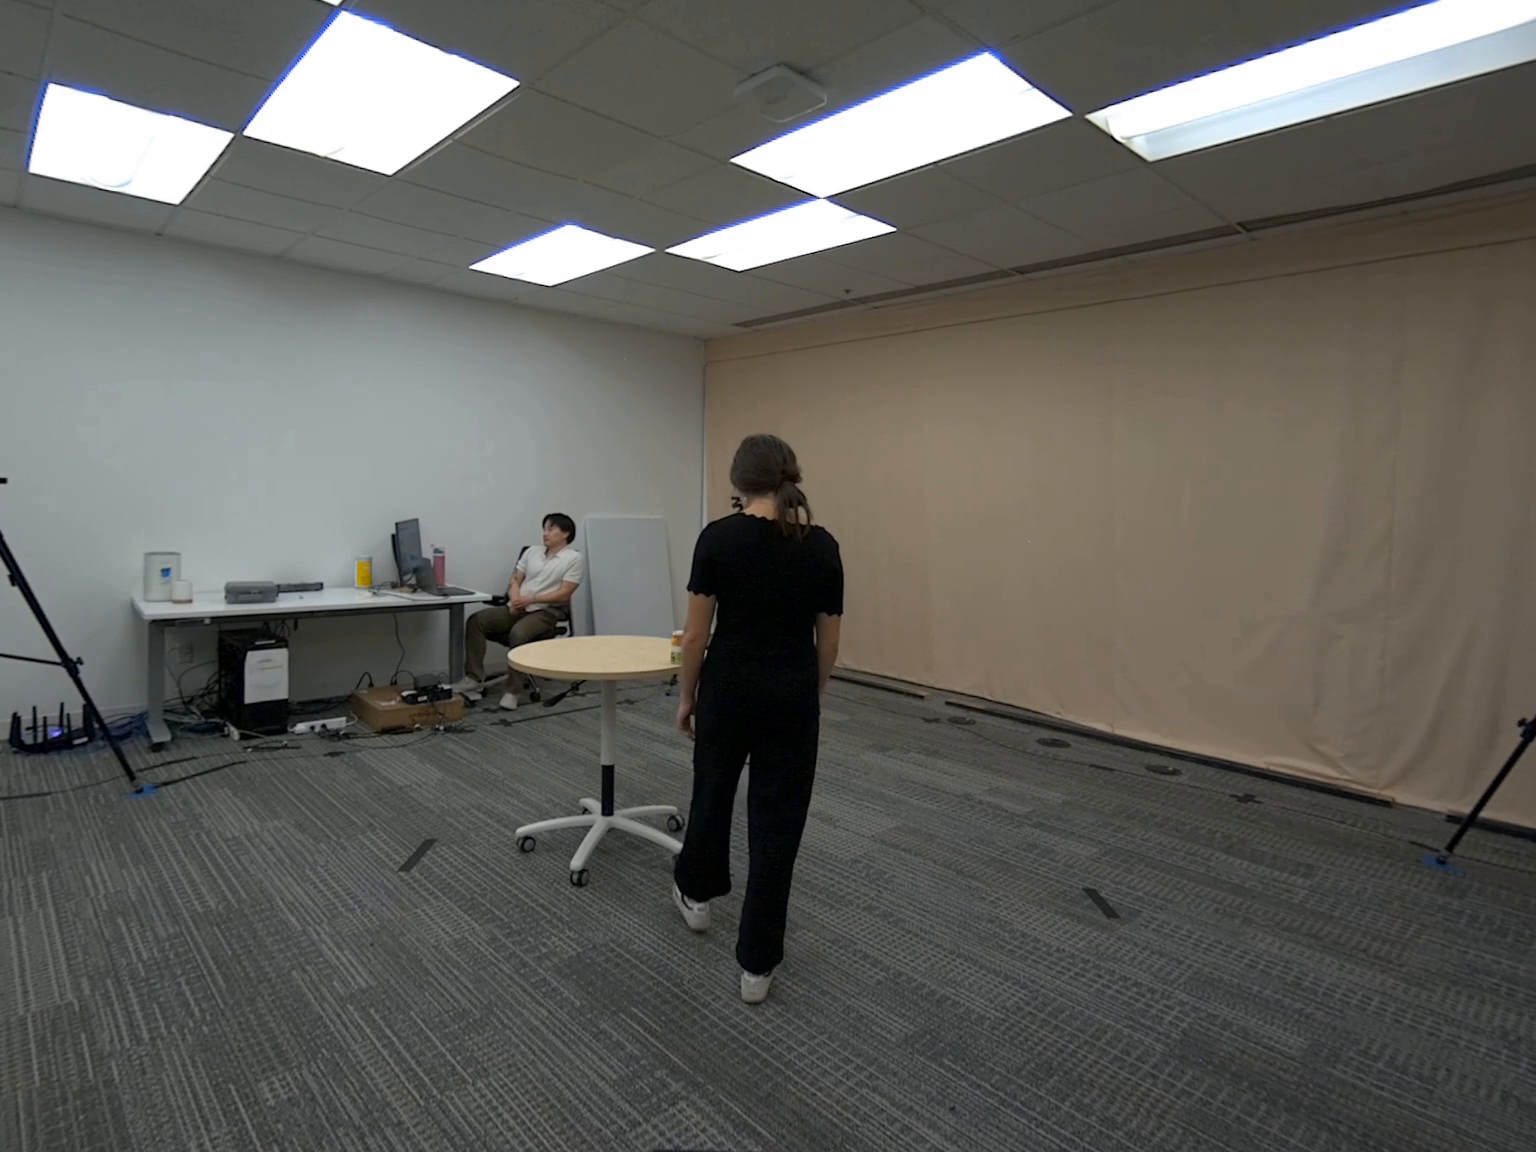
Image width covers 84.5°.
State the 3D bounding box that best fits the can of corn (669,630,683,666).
[{"bbox_3d":[-0.330,0.262,3.073,0.074,0.111,0.074,1,4,-1],"label":"can of corn"}]
